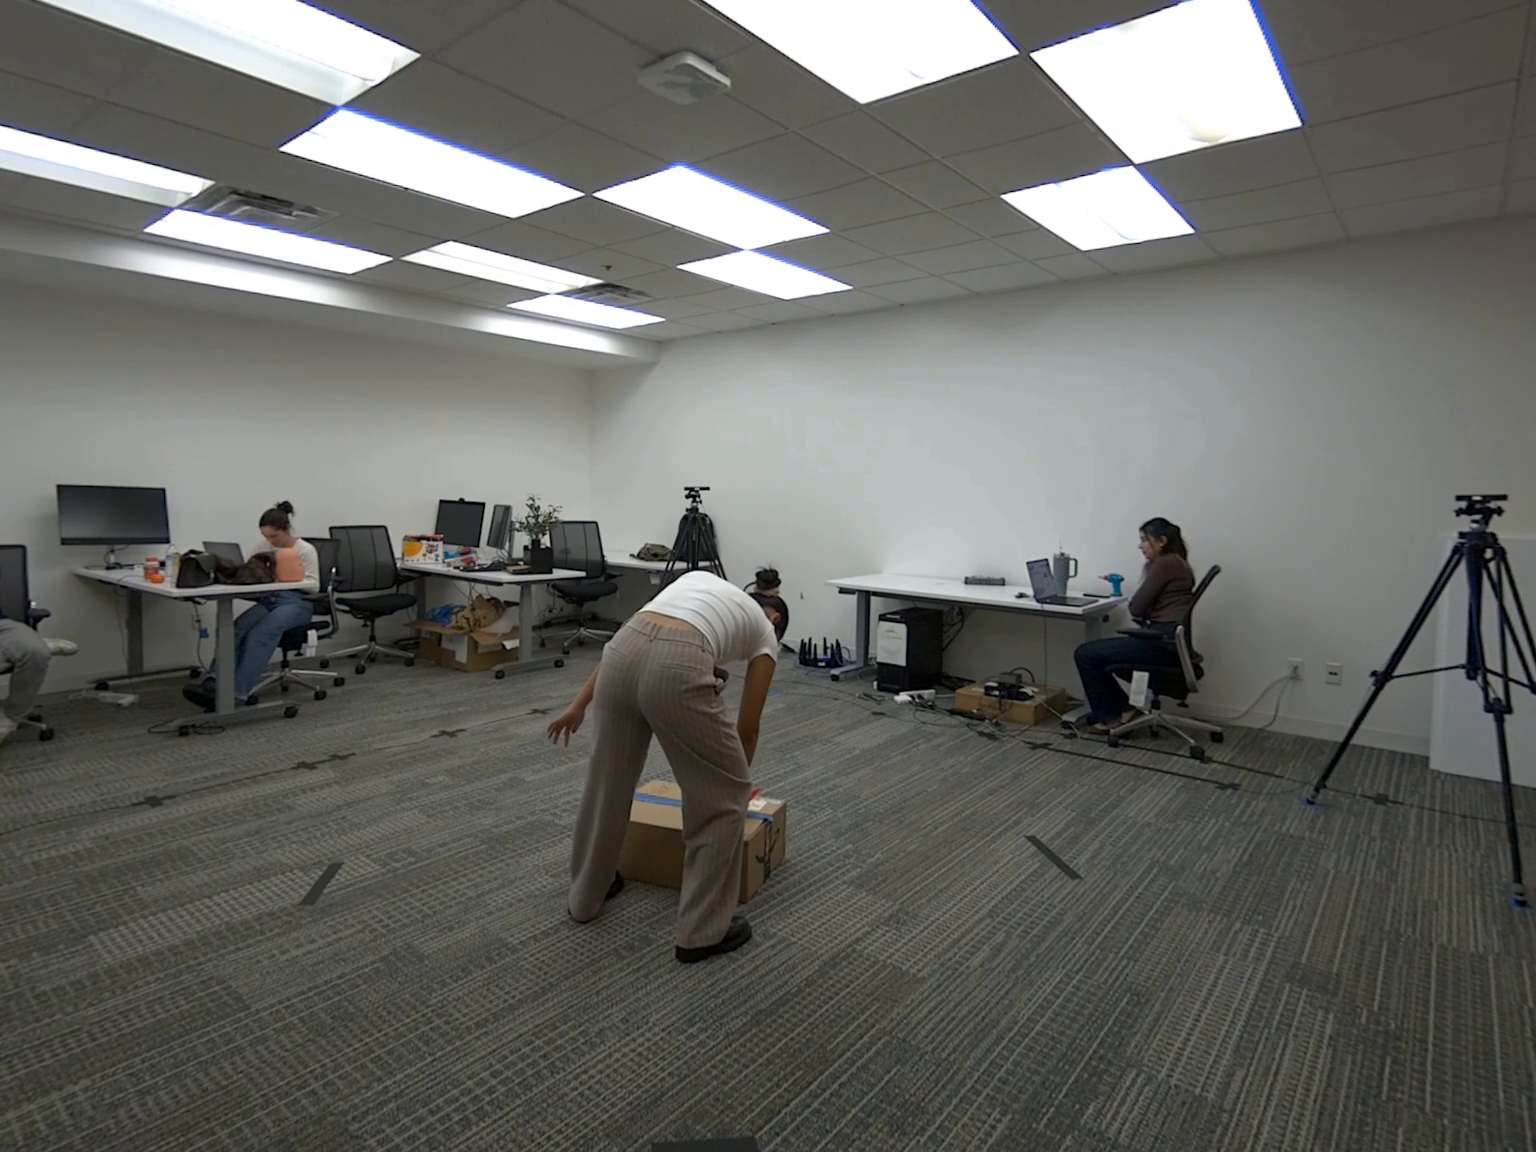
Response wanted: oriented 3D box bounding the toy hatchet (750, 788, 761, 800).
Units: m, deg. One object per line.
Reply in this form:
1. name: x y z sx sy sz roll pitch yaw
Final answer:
1. toy hatchet: -0.141 0.816 2.973 0.131 0.030 0.264 -41 -11 26
